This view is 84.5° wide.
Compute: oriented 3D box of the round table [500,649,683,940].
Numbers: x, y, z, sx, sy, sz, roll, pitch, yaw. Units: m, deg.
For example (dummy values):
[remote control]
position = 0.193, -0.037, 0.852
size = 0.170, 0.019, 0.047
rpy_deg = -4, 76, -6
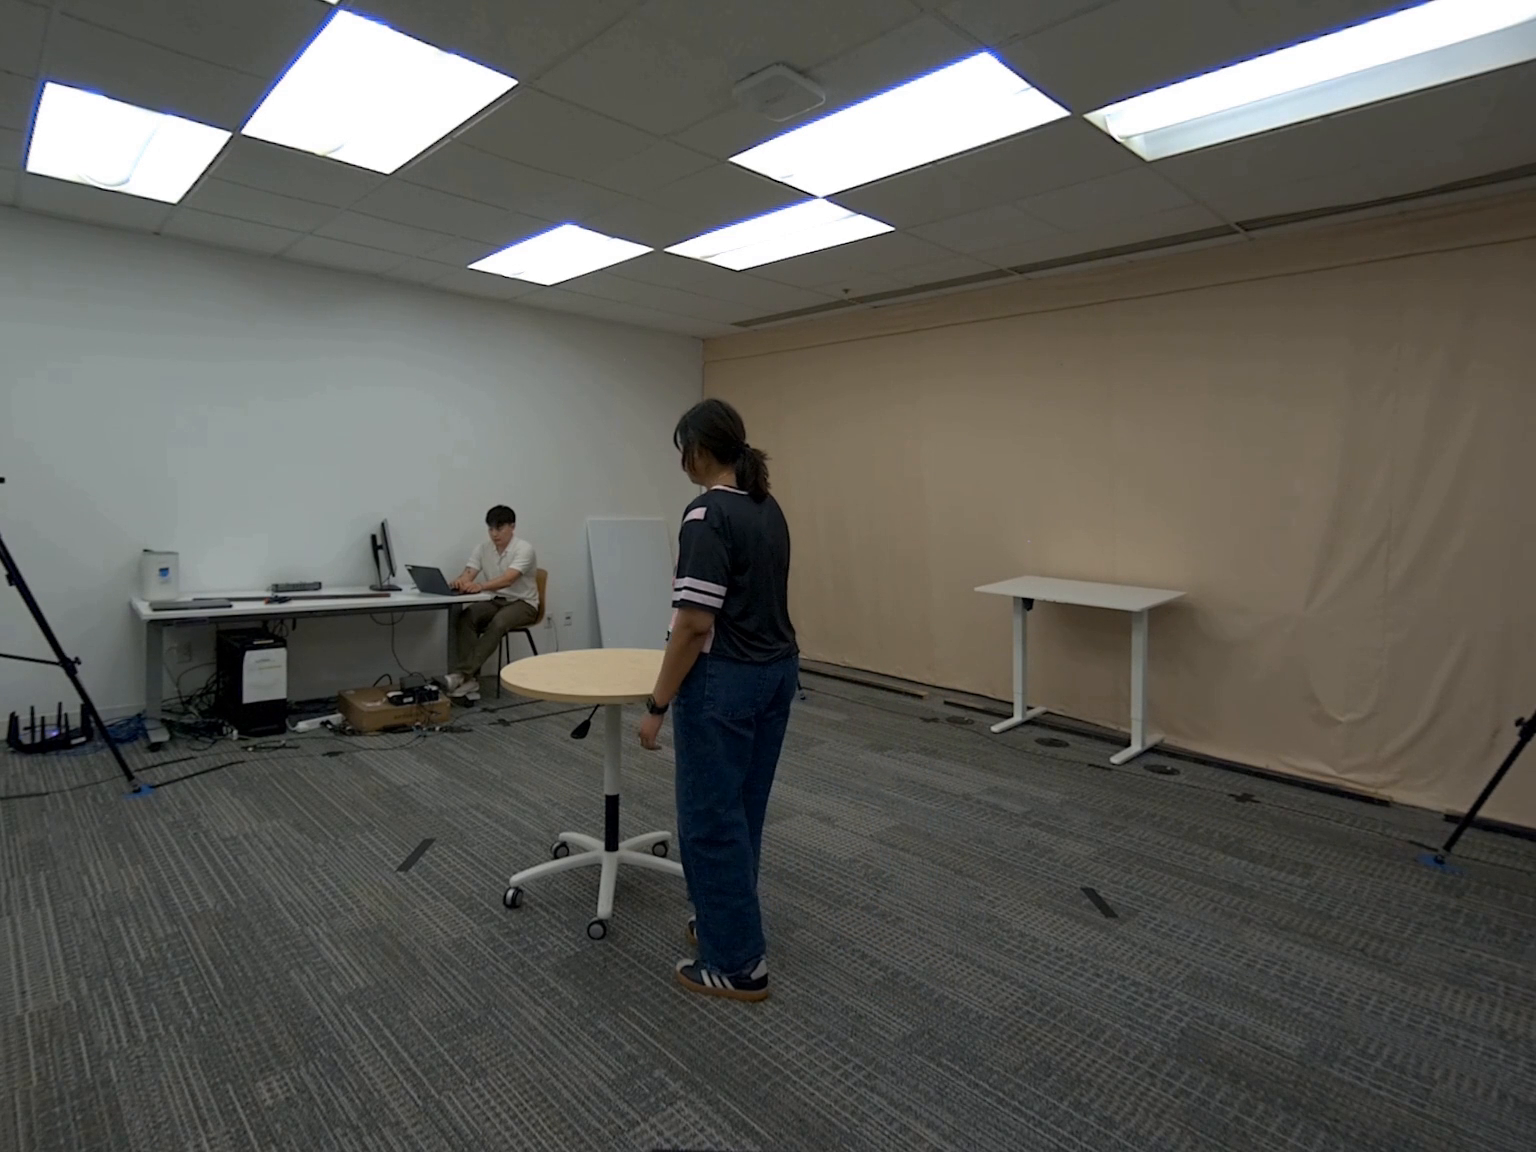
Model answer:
[round table]
position = -0.556, 0.721, 2.964
size = 0.763, 0.792, 0.767
rpy_deg = 1, 4, -1
